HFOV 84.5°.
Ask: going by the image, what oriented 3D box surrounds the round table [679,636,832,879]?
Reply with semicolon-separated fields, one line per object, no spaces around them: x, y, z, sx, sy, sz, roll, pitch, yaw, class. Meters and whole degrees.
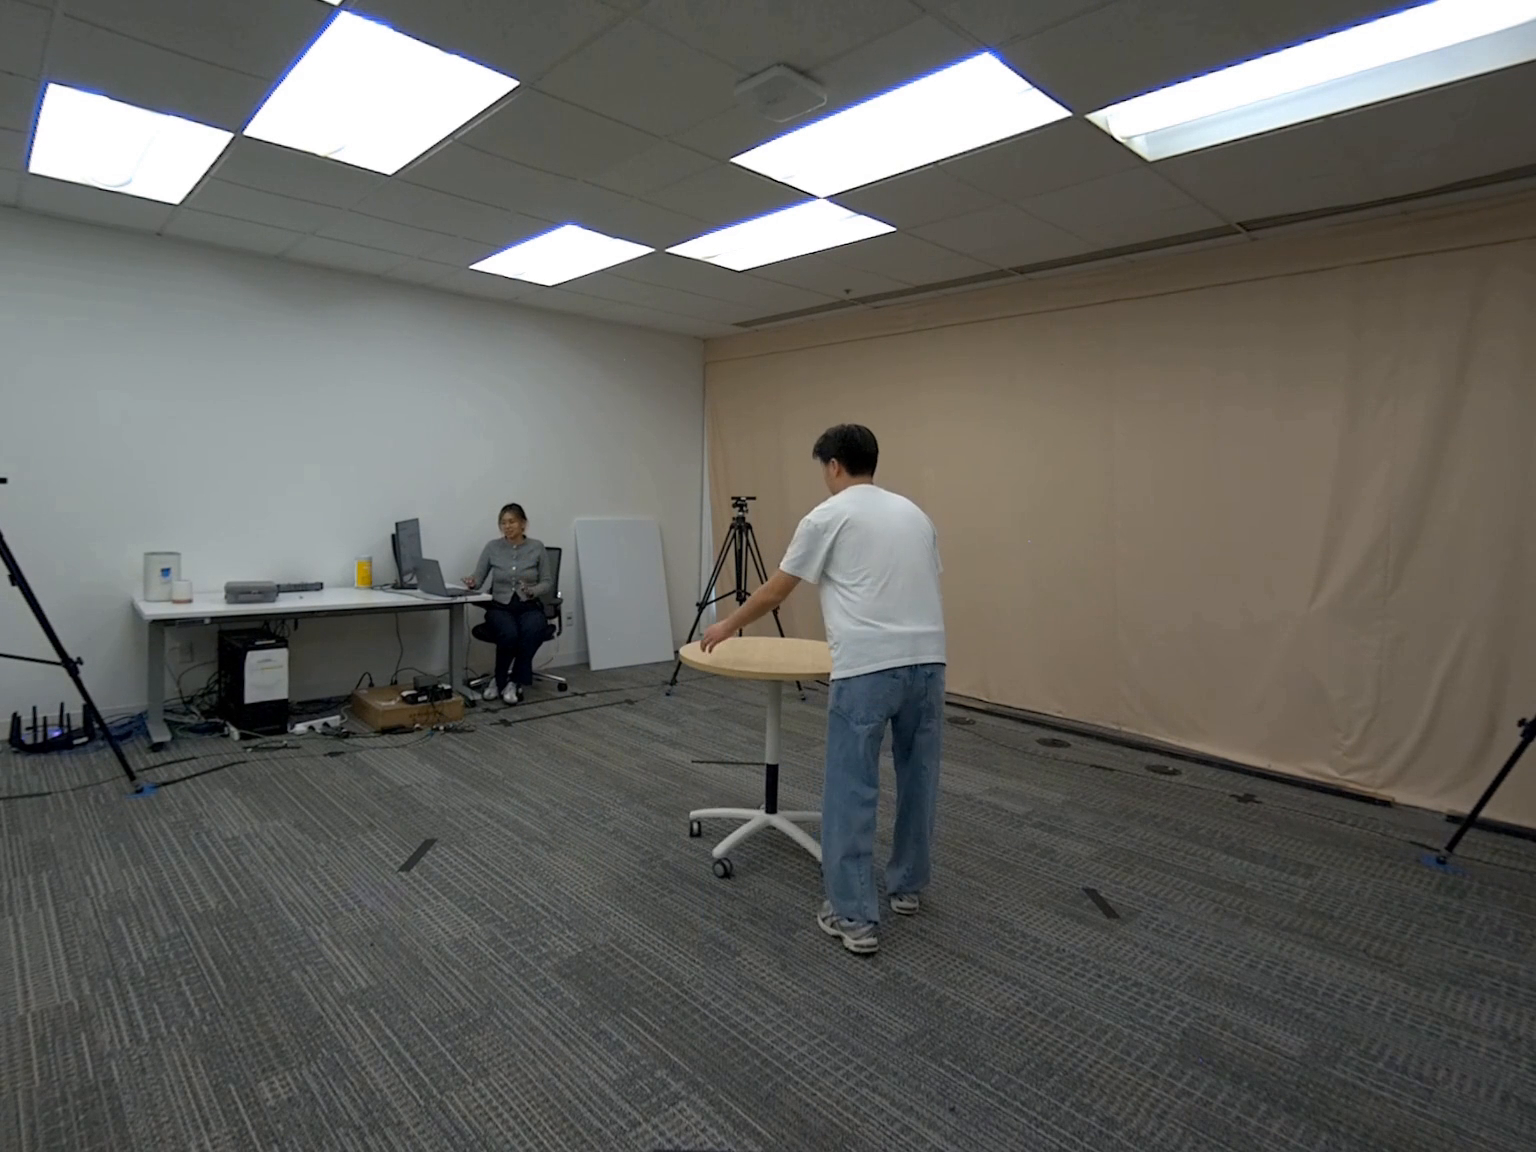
0.018;0.695;3.338;0.784;0.785;0.787;1;4;-1;round table
